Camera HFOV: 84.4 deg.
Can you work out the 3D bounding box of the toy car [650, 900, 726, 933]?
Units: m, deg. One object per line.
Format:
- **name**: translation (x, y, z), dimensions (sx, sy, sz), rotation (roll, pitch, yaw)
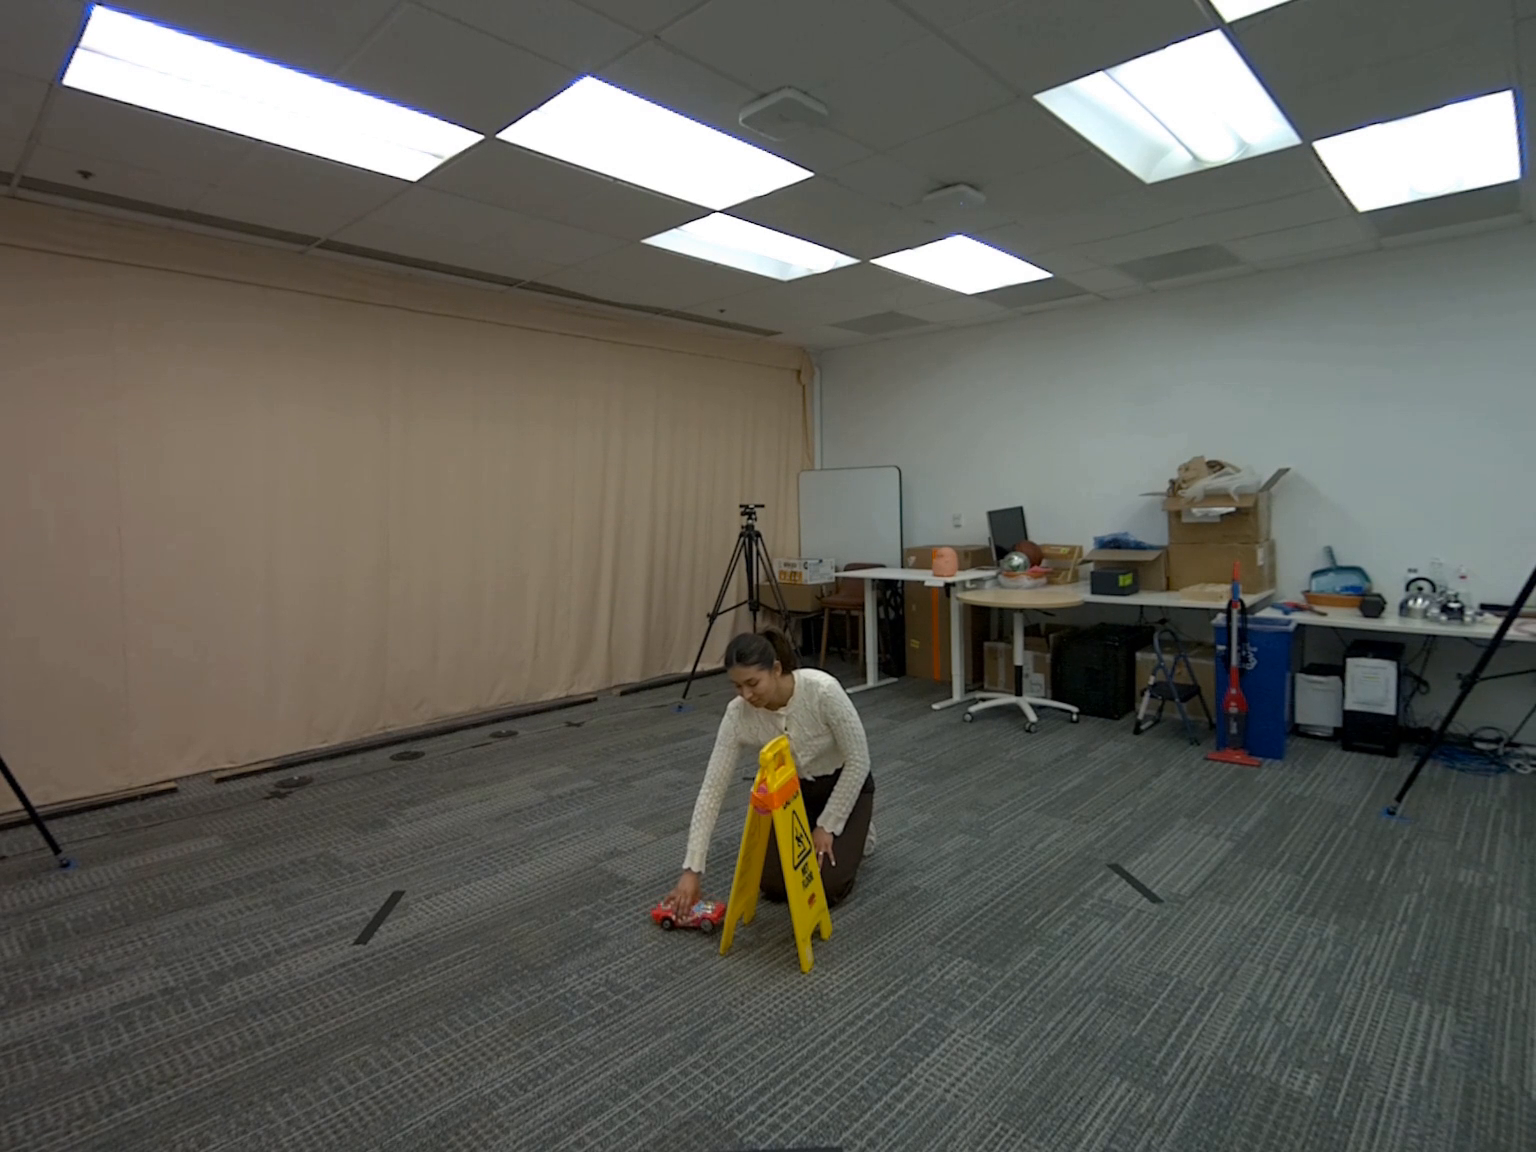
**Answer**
- **toy car**: translation (-0.267, 1.122, 2.795), dimensions (0.260, 0.083, 0.128), rotation (1, 6, 22)
